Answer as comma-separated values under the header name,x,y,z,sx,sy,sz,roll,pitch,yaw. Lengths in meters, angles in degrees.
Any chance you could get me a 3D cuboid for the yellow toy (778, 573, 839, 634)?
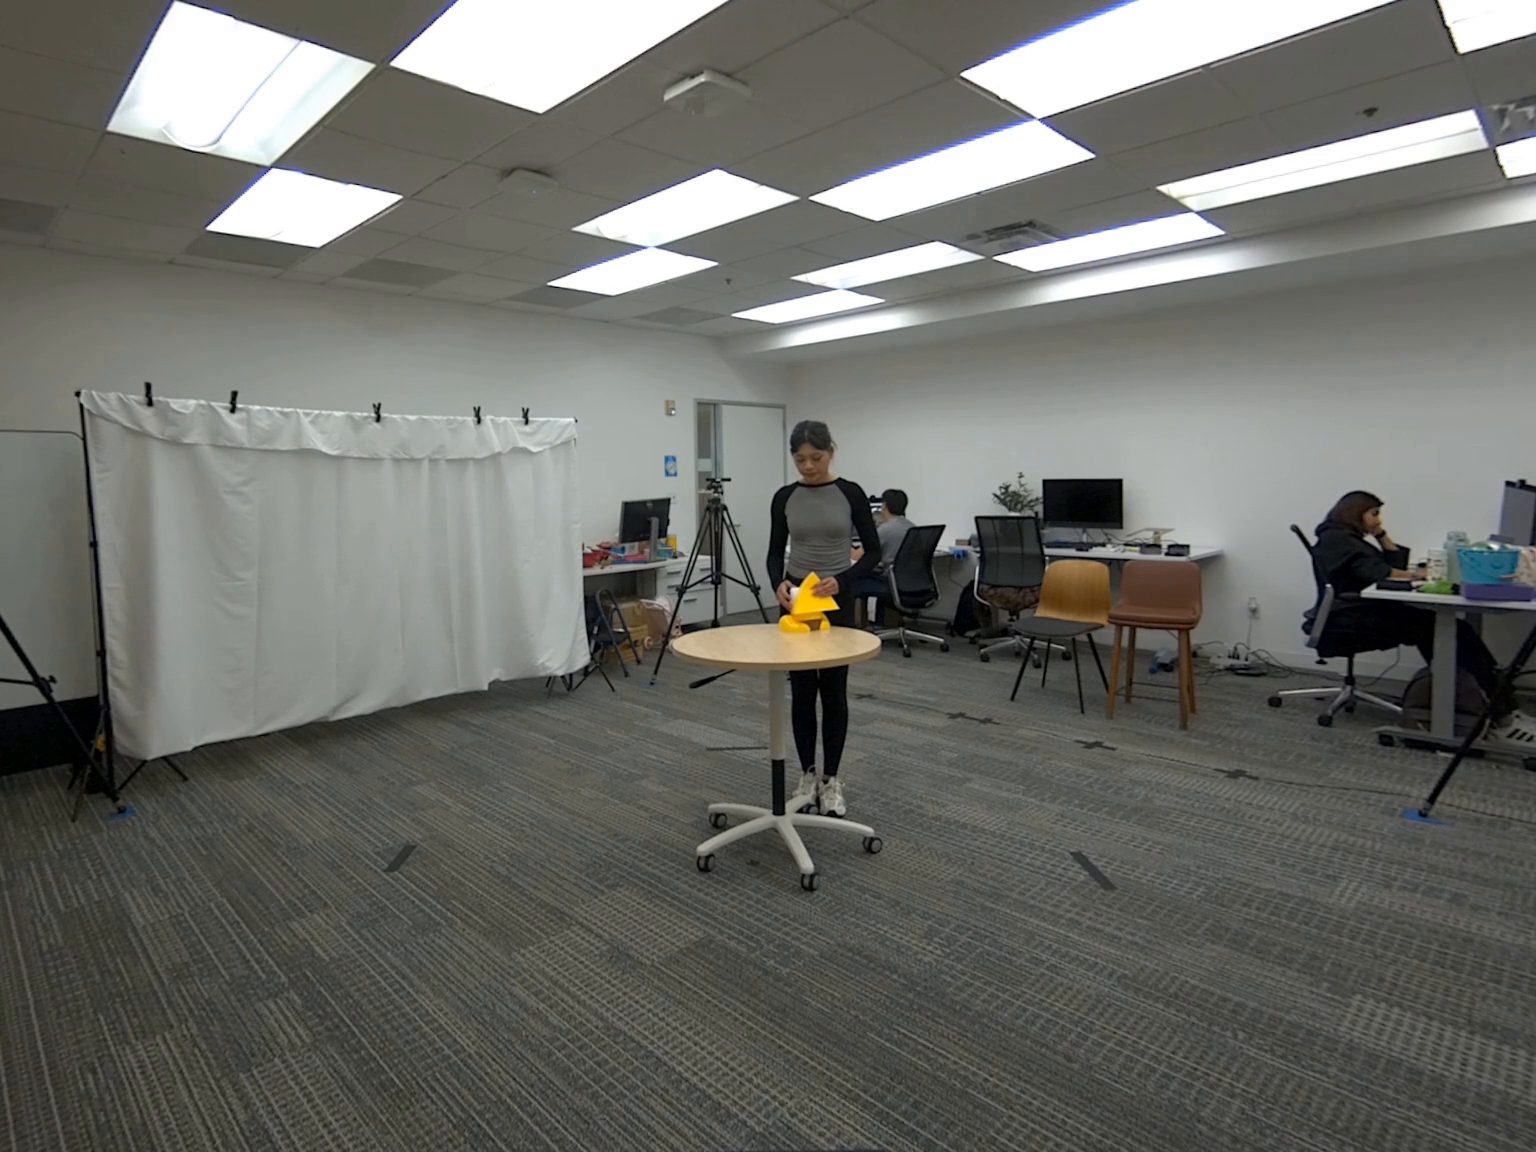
name,x,y,z,sx,sy,sz,roll,pitch,yaw
yellow toy,0.144,0.100,3.421,0.200,0.230,0.198,-5,5,-29
